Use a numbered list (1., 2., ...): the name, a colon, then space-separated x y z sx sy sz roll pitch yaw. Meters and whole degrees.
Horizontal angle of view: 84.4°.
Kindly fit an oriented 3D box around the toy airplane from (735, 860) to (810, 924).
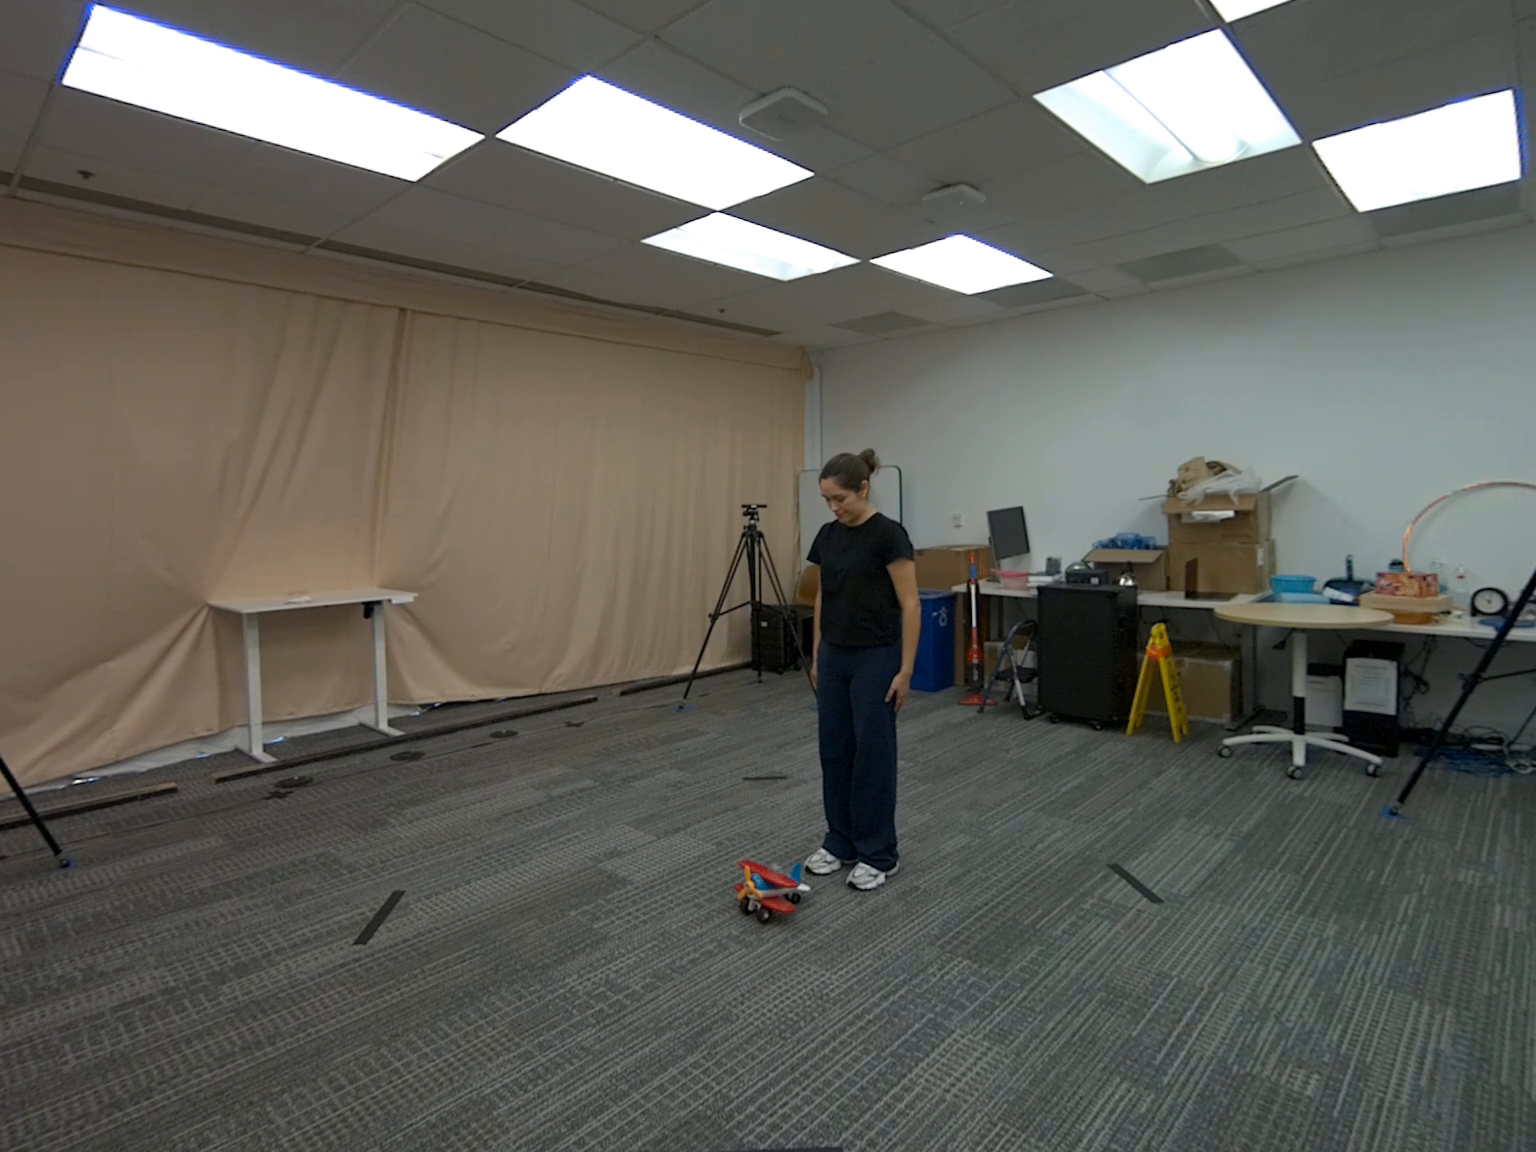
1. toy airplane: 0.022 1.070 2.904 0.256 0.156 0.255 1 7 19
